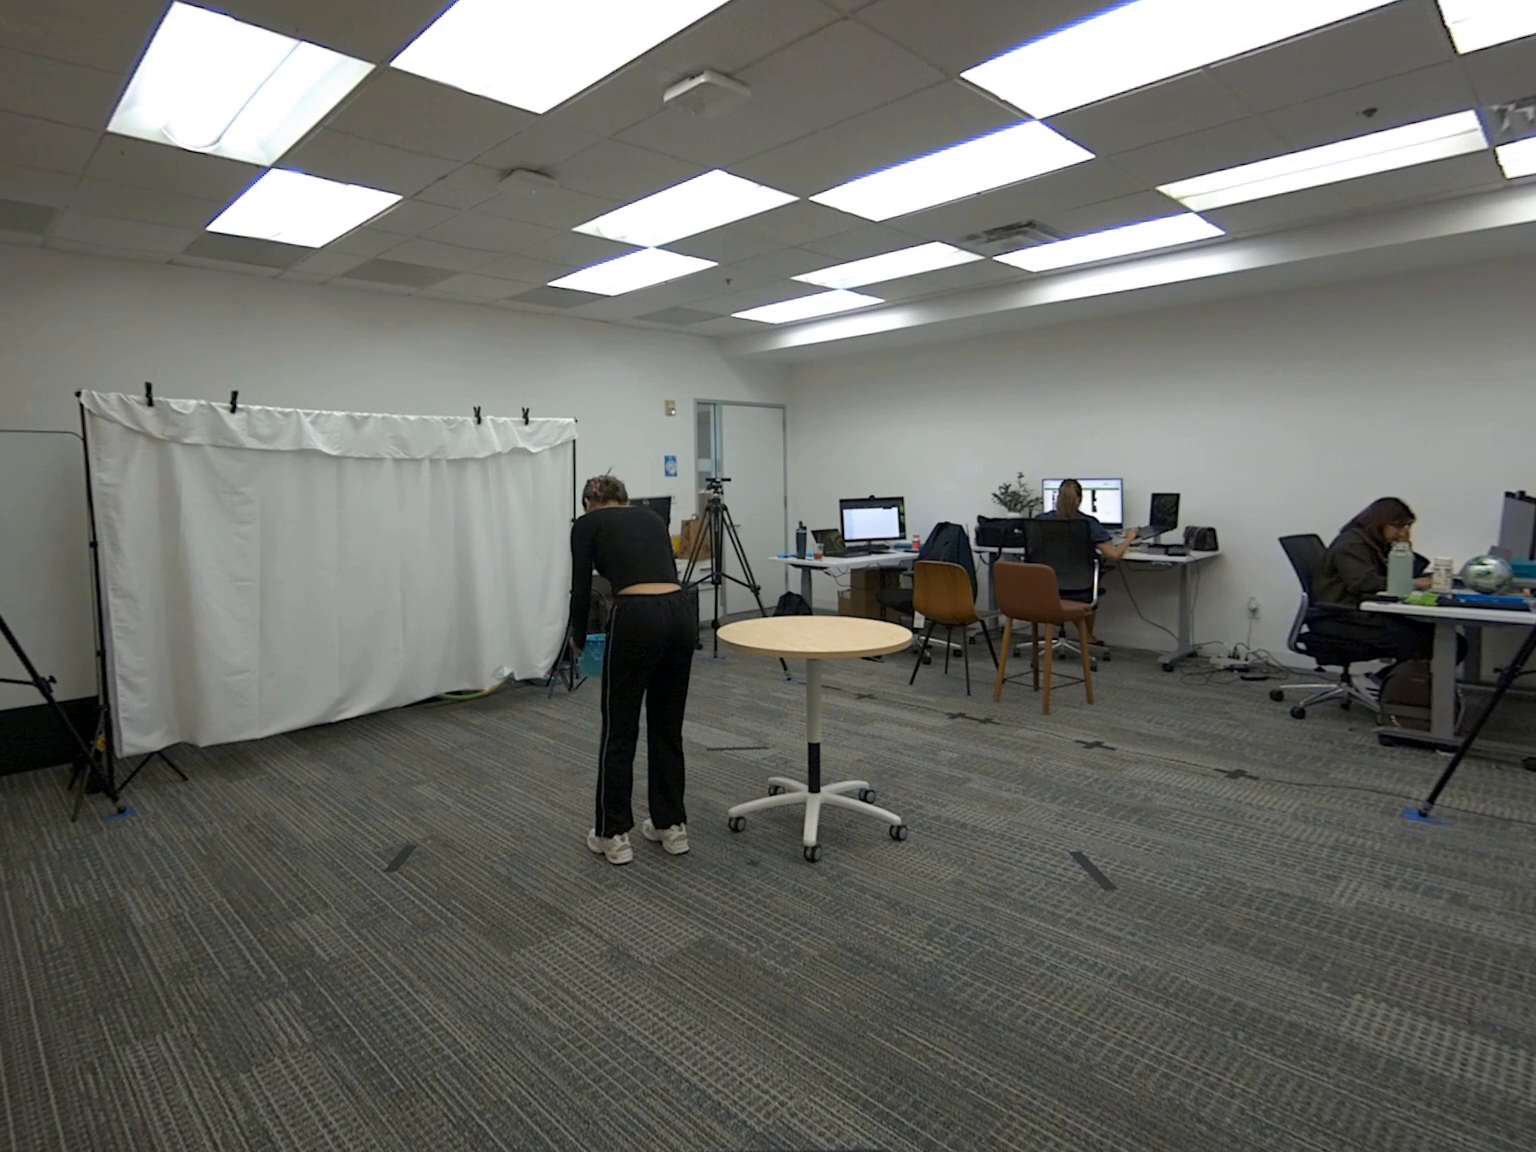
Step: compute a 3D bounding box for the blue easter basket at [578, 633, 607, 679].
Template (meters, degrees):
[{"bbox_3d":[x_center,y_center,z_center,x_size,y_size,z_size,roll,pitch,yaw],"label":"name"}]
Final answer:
[{"bbox_3d":[-0.667,0.328,3.510,0.243,0.156,0.244,-3,2,-2],"label":"blue easter basket"}]
